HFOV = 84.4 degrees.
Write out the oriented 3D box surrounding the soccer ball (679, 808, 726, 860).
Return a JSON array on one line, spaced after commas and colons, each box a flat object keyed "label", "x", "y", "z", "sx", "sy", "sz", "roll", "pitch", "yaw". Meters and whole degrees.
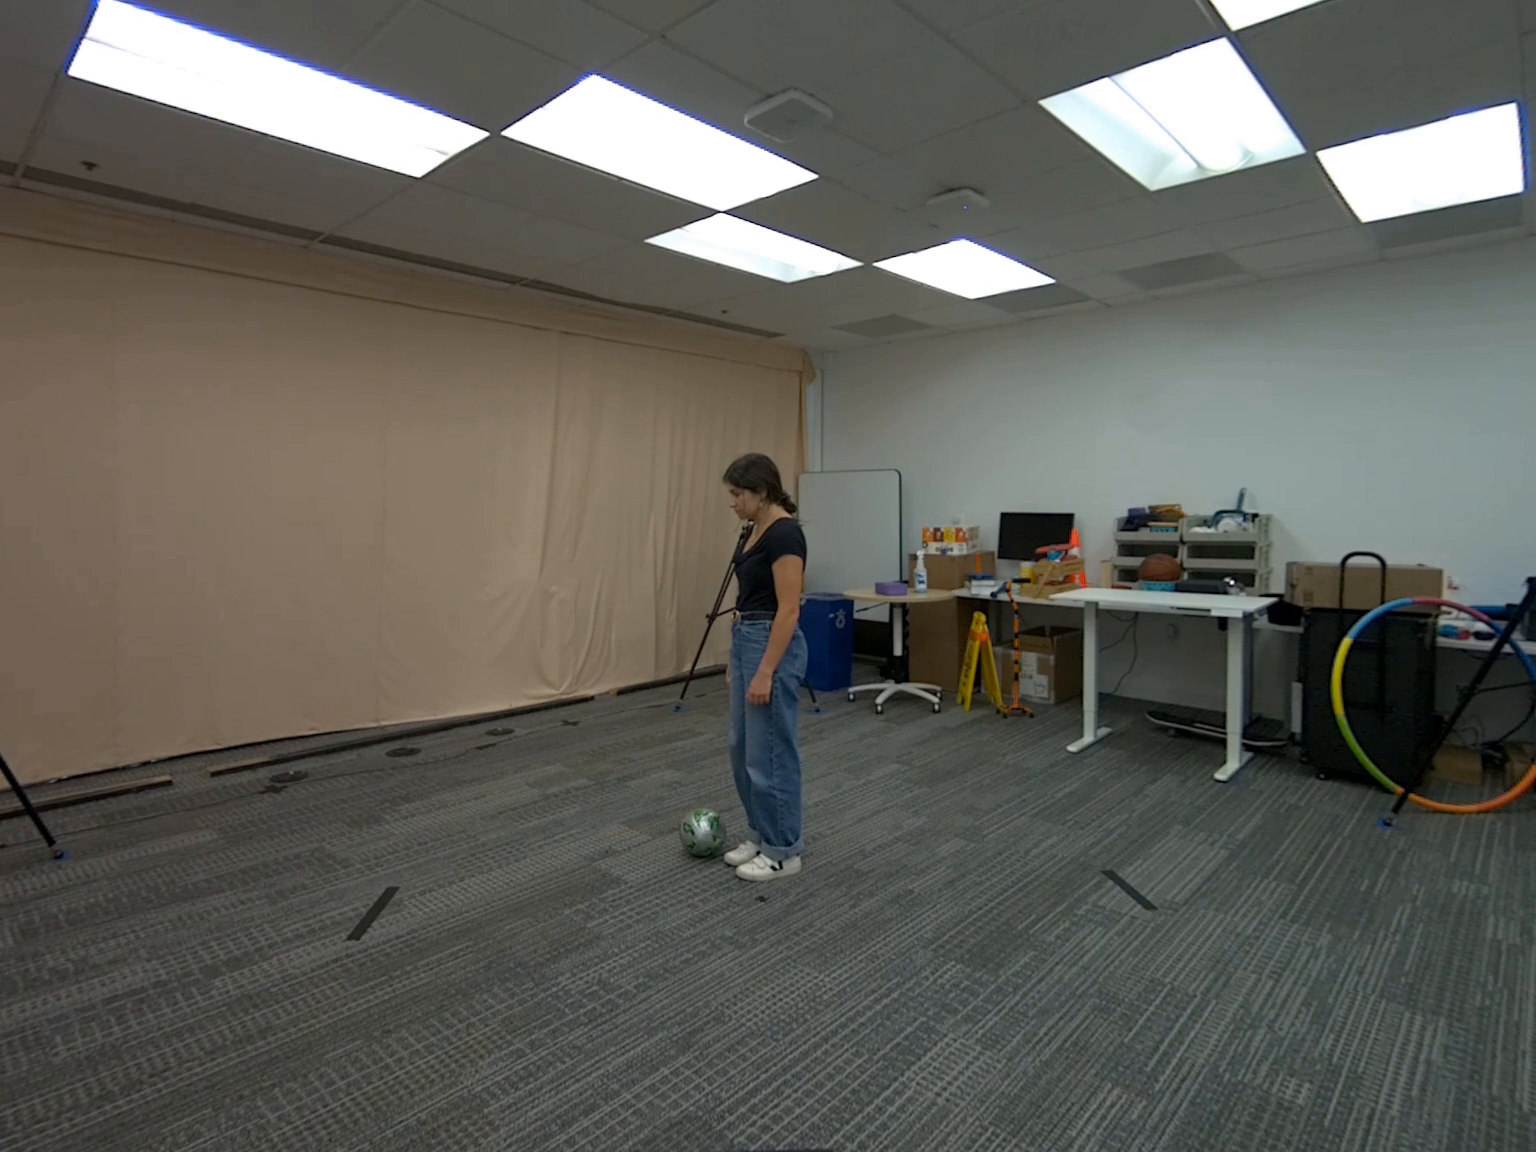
[{"label": "soccer ball", "x": -0.253, "y": 1.030, "z": 3.362, "sx": 0.187, "sy": 0.187, "sz": 0.188, "roll": 0, "pitch": 4, "yaw": -2}]
